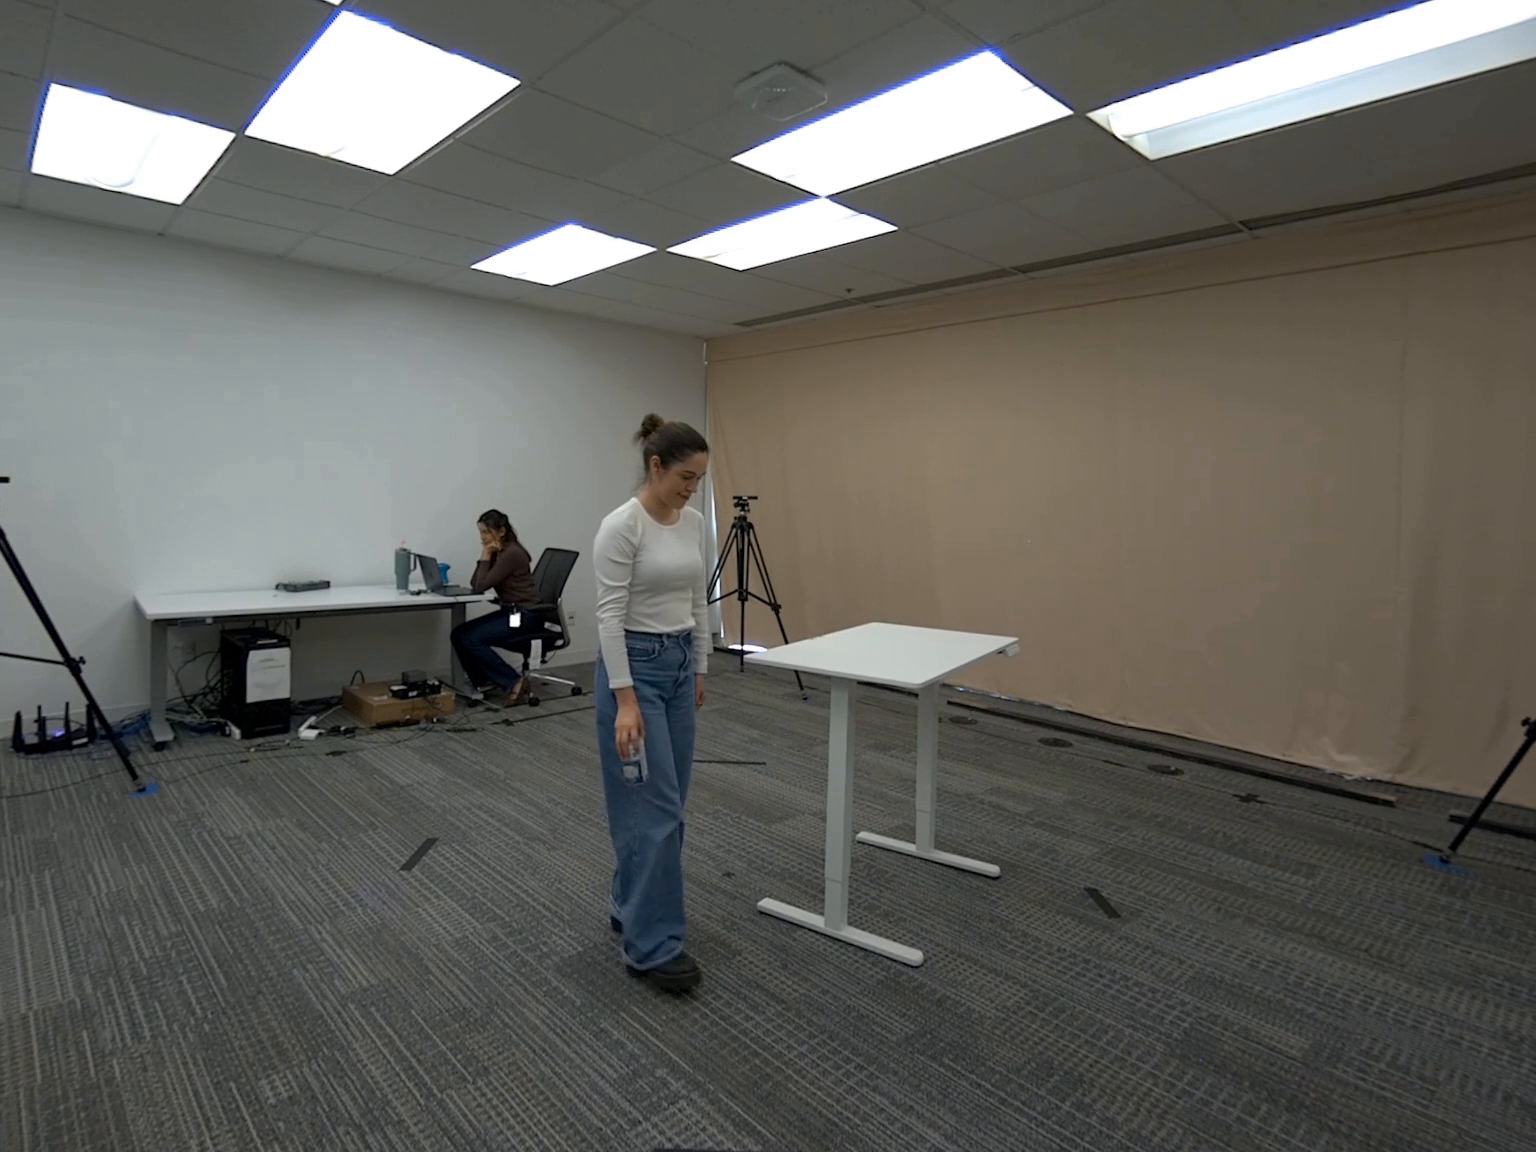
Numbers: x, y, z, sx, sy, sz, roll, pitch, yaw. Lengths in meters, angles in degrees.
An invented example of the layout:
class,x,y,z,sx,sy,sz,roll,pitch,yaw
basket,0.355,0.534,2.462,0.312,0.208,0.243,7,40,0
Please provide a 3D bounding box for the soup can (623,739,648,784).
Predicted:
class,x,y,z,sx,sy,sz,roll,pitch,yaw
soup can,-0.360,0.517,2.314,0.067,0.121,0.067,0,6,-1
